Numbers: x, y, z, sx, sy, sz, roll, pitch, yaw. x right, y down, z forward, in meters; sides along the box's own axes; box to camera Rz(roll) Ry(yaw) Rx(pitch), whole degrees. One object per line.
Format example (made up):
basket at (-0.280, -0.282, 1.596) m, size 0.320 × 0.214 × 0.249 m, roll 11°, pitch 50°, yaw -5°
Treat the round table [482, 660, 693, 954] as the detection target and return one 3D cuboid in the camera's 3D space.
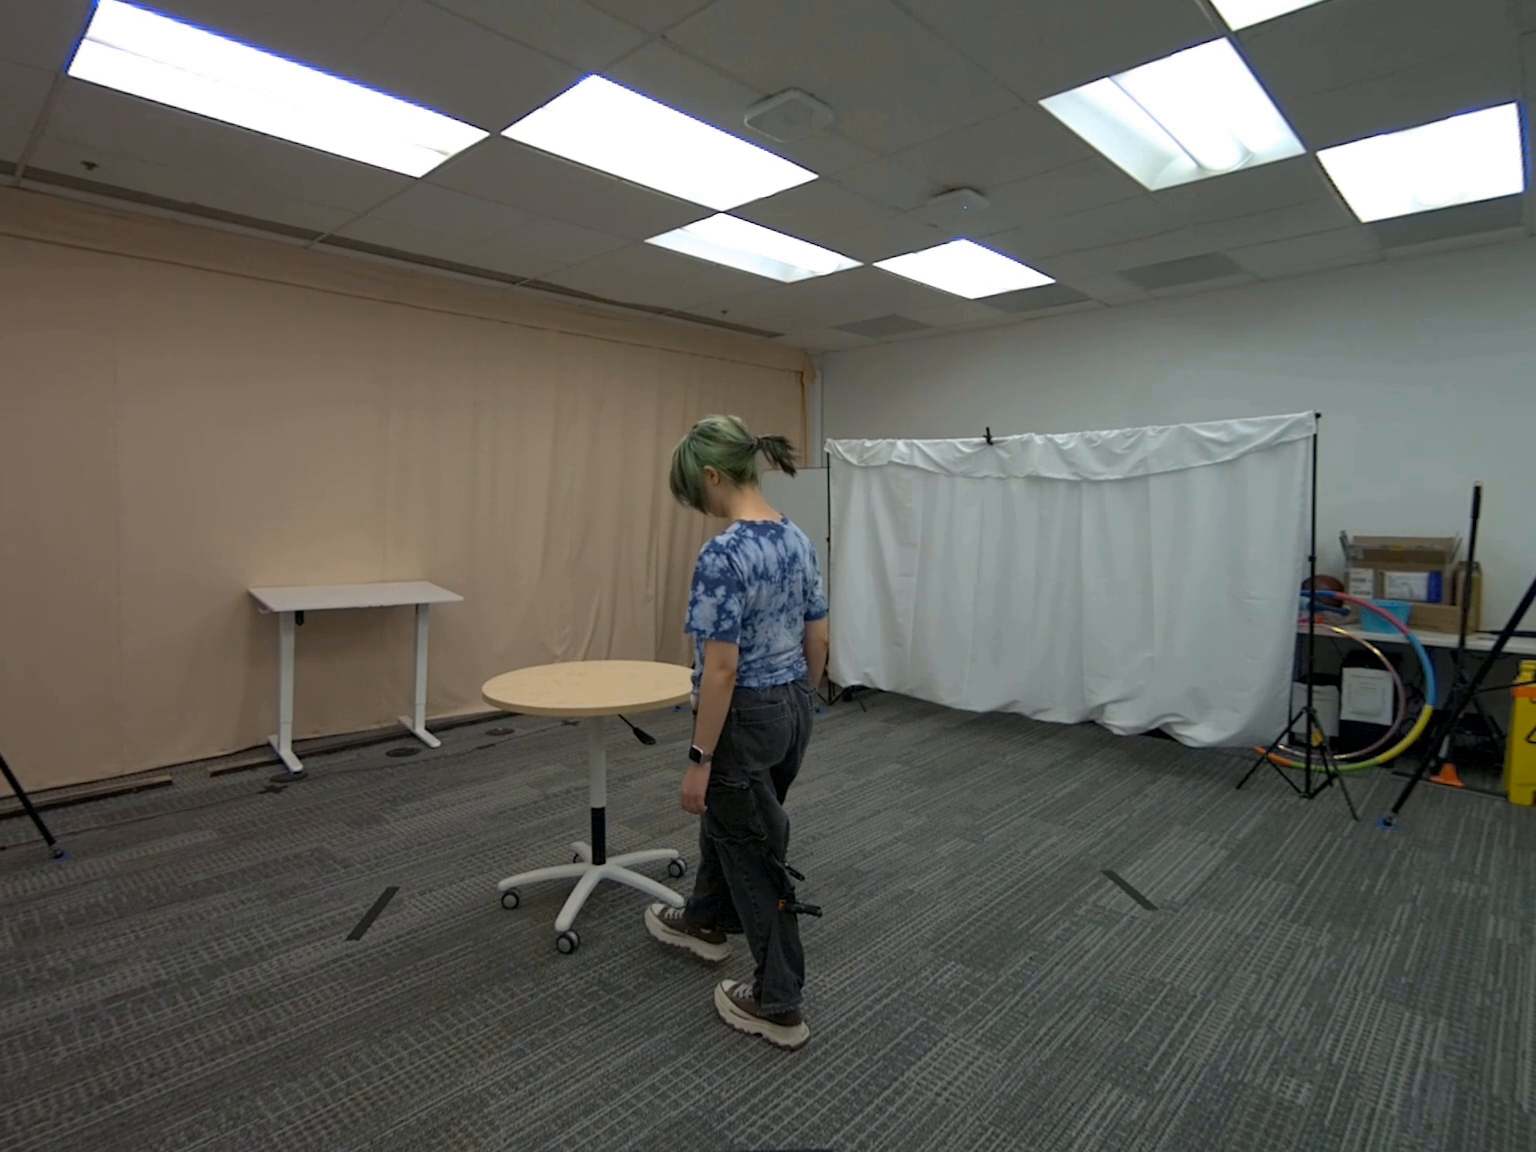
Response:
round table at (-0.595, 0.763, 2.949) m, size 0.763 × 0.792 × 0.766 m, roll -1°, pitch 4°, yaw -2°
